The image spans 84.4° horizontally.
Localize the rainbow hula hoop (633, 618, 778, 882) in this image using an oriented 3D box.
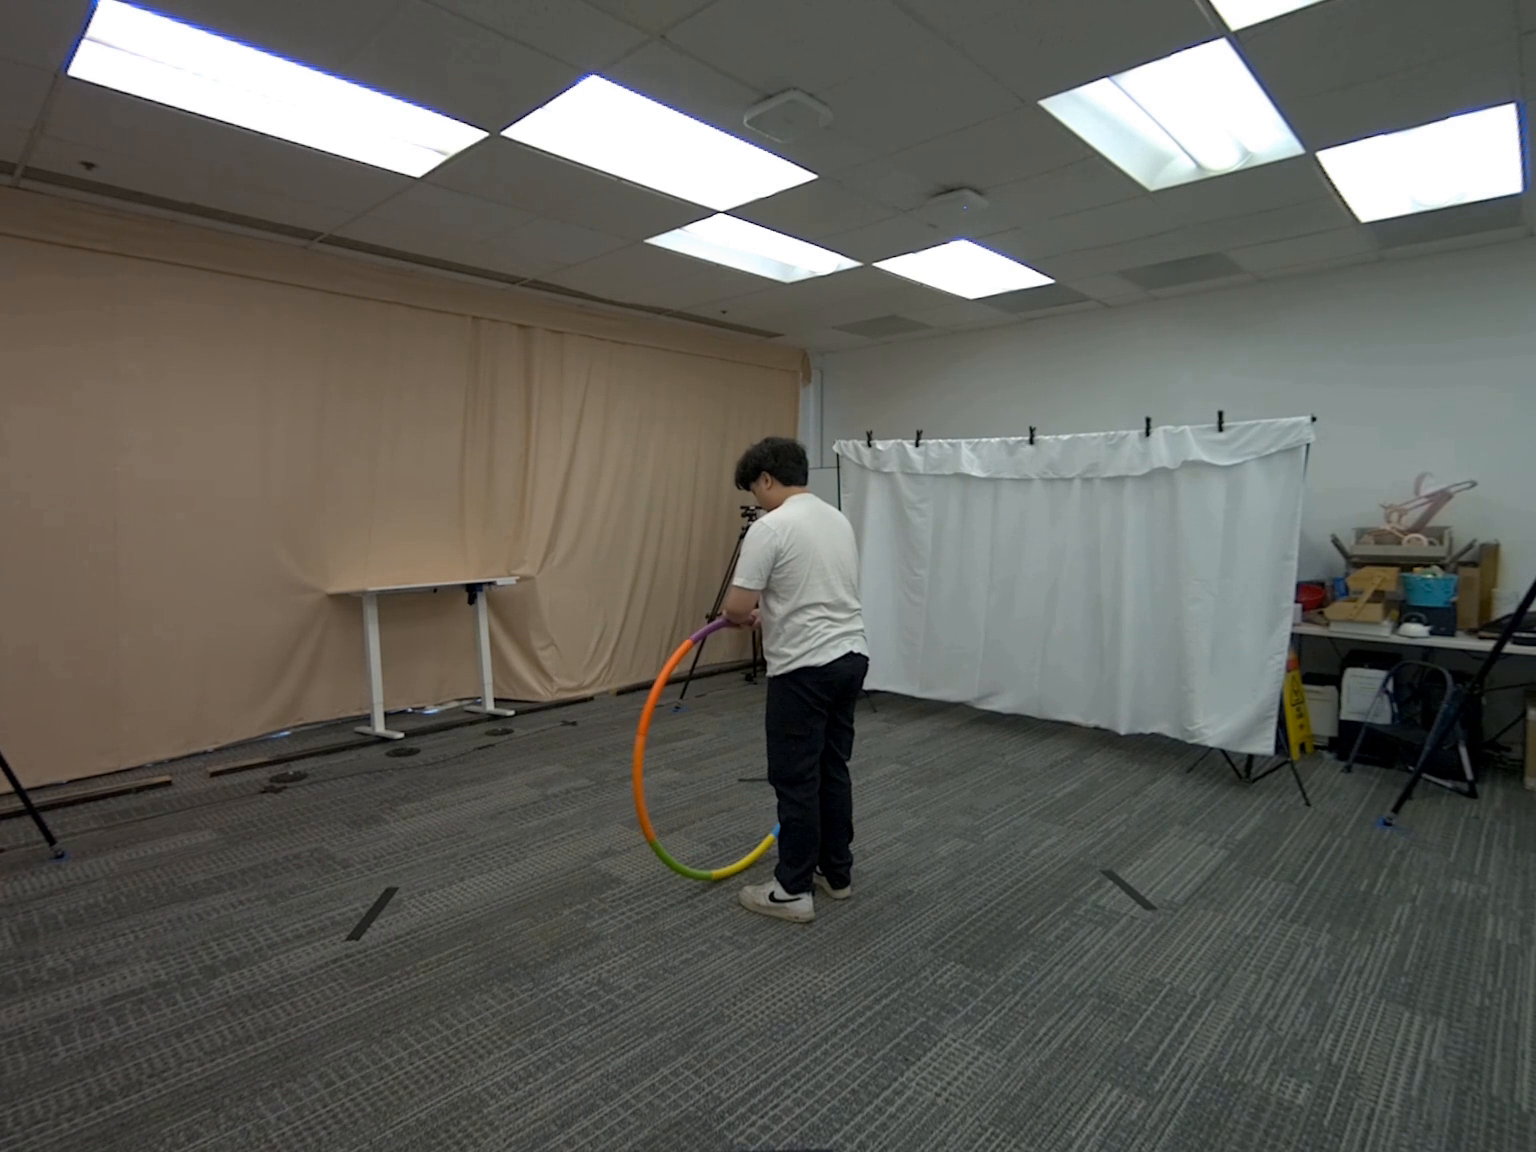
[{"bbox_3d":[-0.127,0.641,3.164,0.053,0.983,0.955,3,5,42],"label":"rainbow hula hoop"}]
